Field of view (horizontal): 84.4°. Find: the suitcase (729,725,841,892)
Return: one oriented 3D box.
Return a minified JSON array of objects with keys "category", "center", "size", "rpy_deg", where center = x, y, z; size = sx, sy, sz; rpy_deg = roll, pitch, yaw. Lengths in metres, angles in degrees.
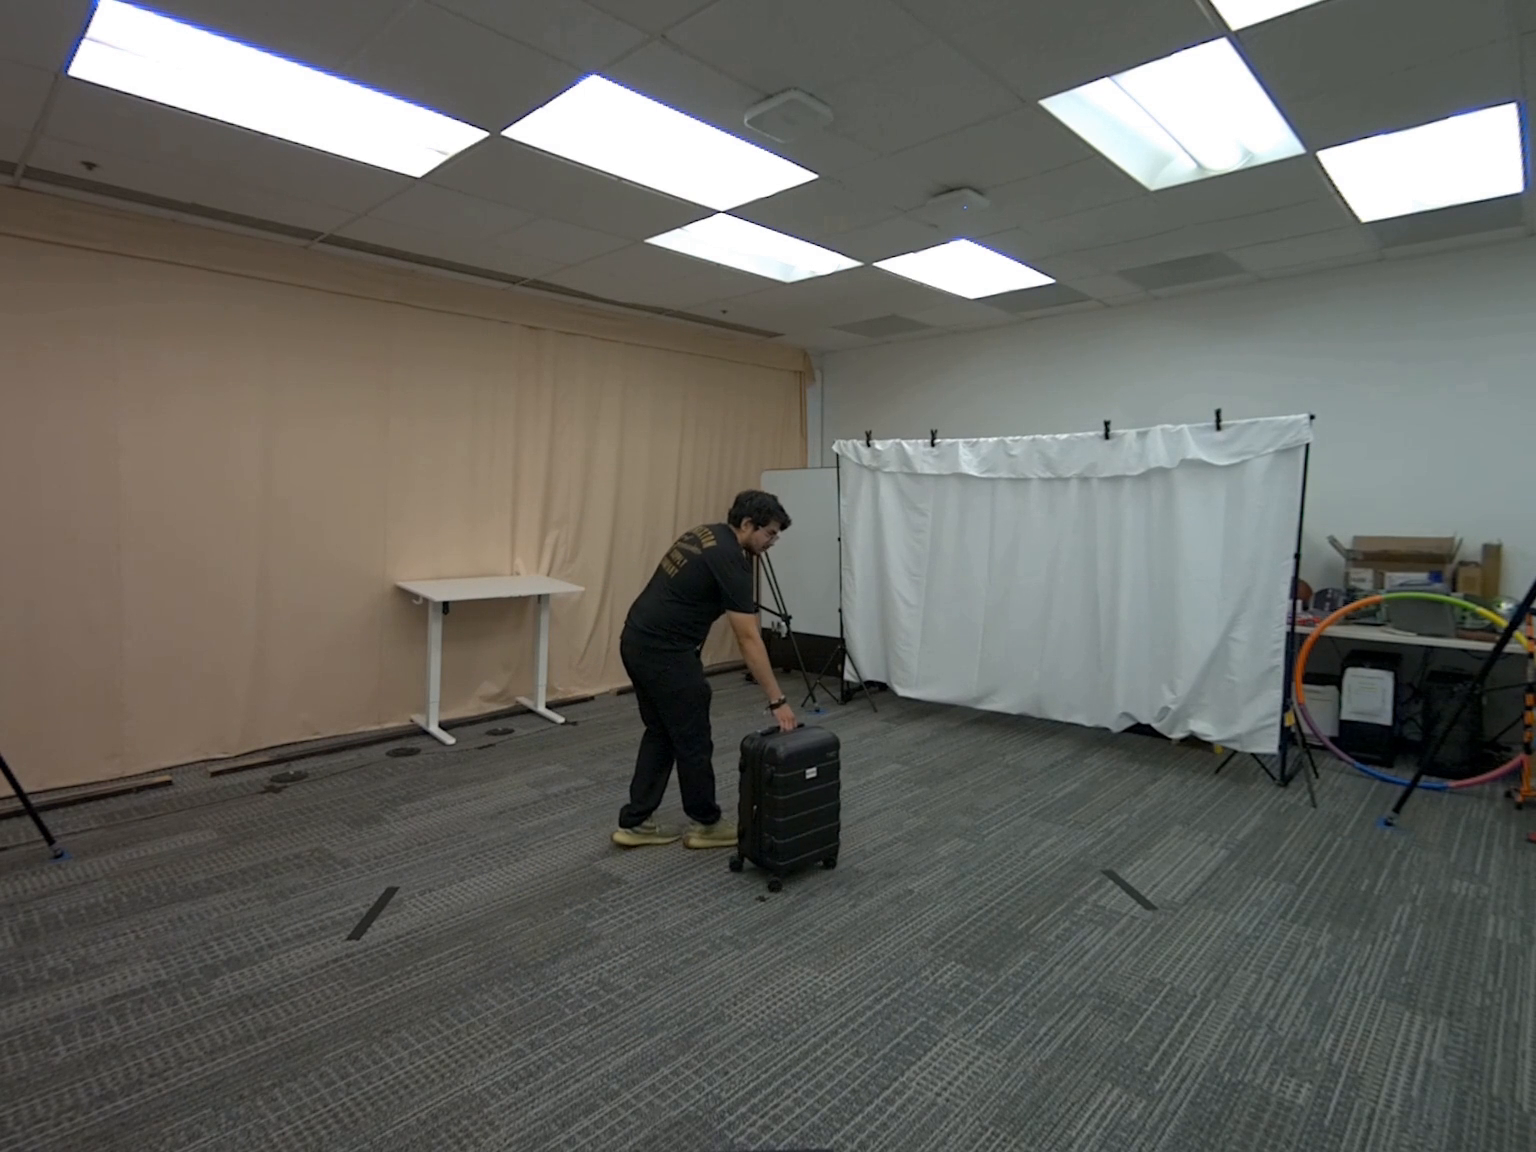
[{"category":"suitcase","center":[0.076,0.854,3.201],"size":[0.364,0.548,0.257],"rpy_deg":[-3,7,-42]}]
